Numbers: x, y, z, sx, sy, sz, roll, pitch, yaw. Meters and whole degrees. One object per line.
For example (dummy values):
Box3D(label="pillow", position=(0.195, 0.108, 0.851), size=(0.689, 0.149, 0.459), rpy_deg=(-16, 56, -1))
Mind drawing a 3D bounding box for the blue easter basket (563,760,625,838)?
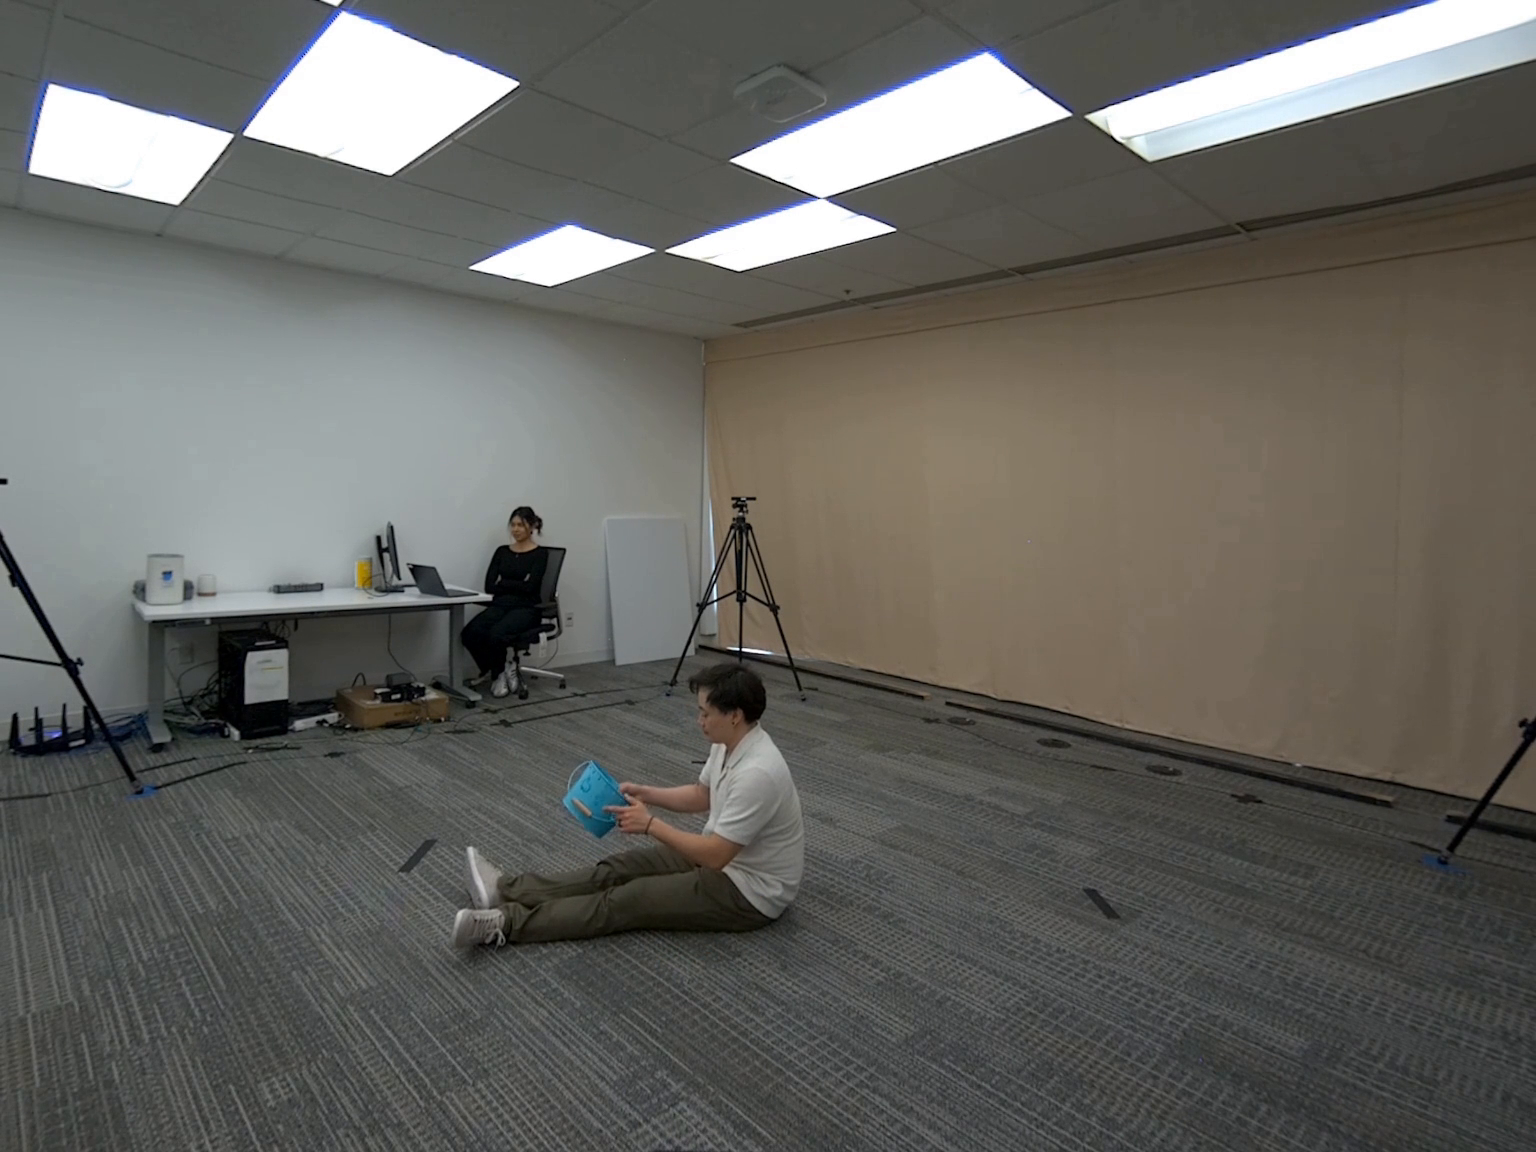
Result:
Box3D(label="blue easter basket", position=(-0.563, 0.740, 2.785), size=(0.156, 0.239, 0.248), rpy_deg=(-44, 19, -13))
